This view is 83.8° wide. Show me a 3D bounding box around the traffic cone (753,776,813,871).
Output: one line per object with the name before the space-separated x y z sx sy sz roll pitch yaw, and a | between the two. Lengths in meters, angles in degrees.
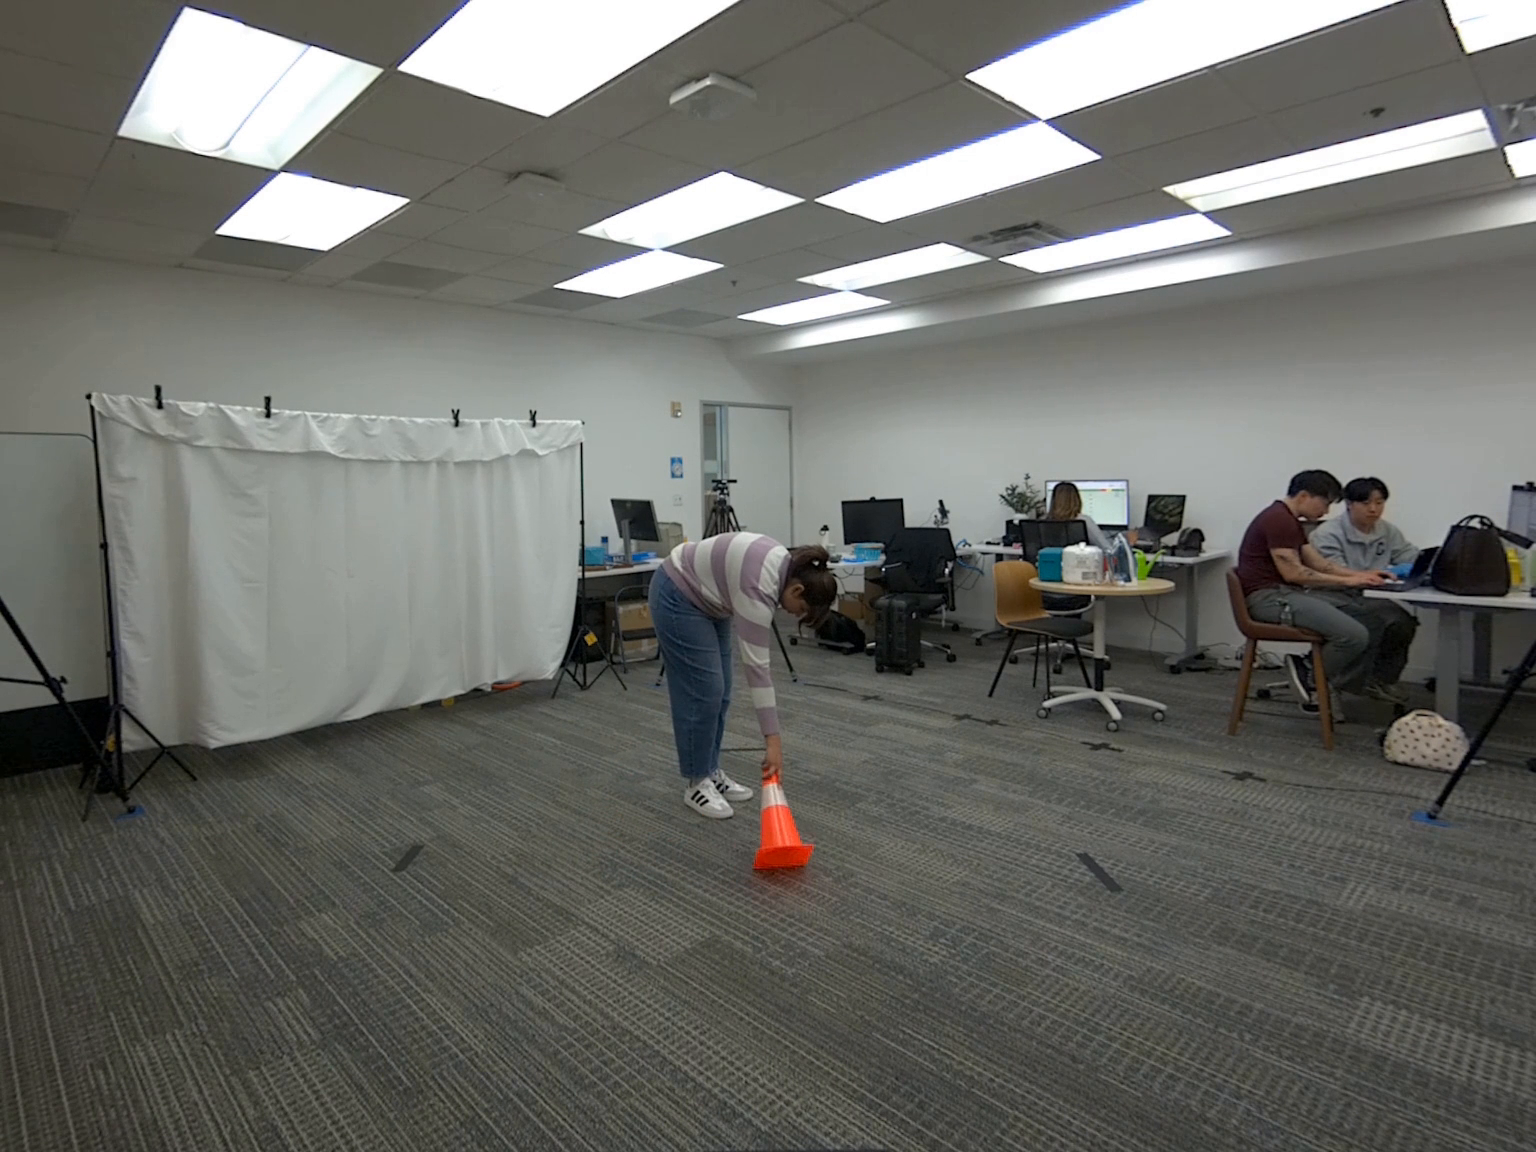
traffic cone | 0.022 0.839 3.122 0.202 0.395 0.200 -3 -38 -9
